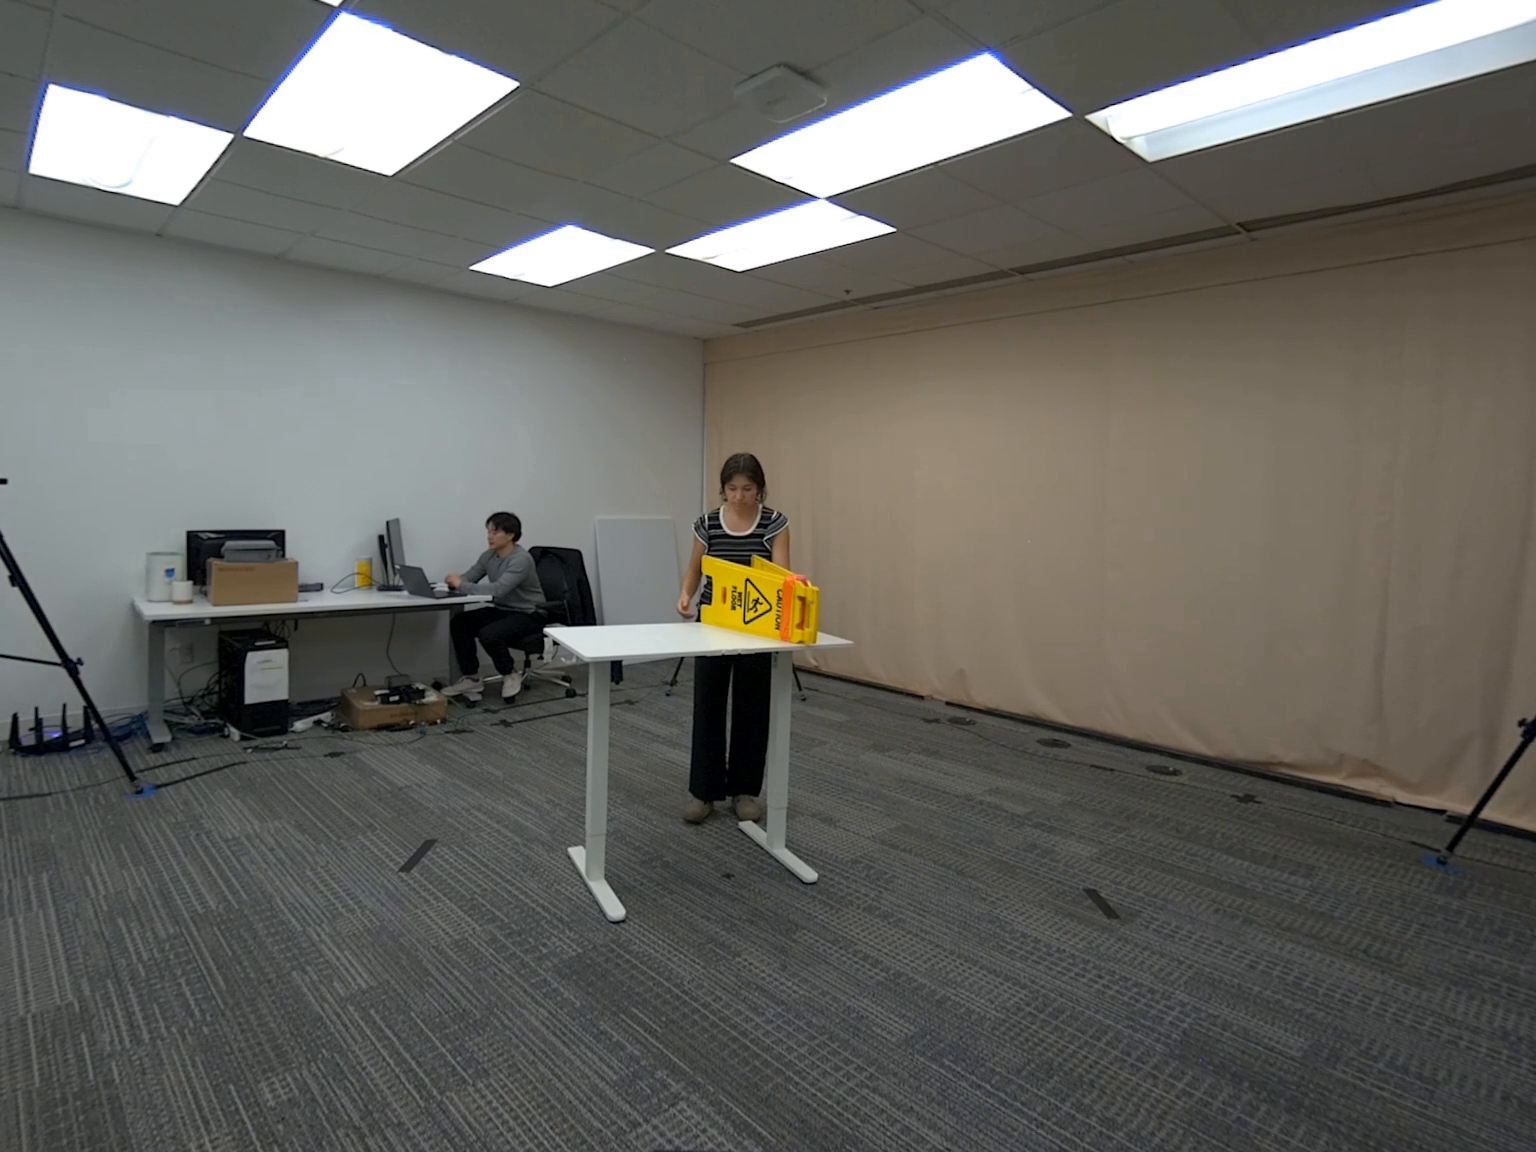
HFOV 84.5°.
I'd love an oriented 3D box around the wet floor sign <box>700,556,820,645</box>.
[{"bbox_3d":[-0.002,0.098,3.202,0.284,0.281,0.662,-1,8,-30],"label":"wet floor sign"}]
